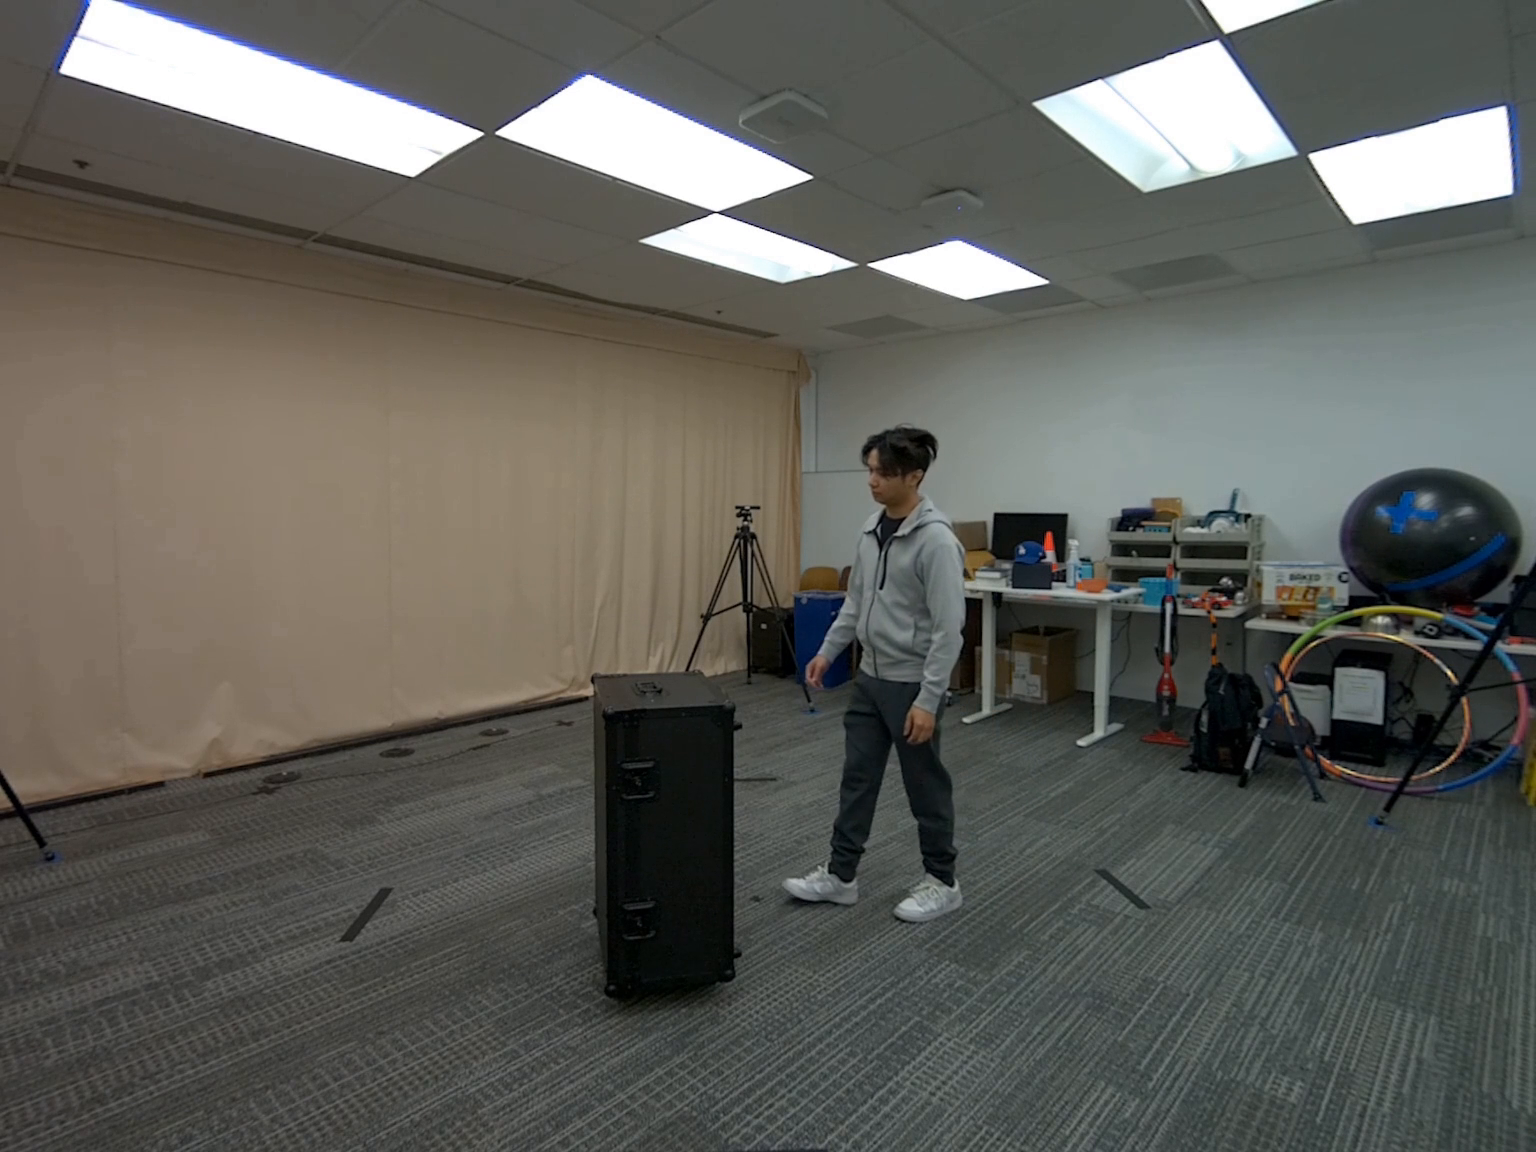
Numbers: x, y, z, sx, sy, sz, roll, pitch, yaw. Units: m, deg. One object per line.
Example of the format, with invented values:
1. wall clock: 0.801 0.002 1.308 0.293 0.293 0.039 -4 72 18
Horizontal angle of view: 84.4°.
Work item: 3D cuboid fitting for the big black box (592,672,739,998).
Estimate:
1. big black box: -0.318 0.697 2.508 0.390 0.860 0.531 -2 3 -16
